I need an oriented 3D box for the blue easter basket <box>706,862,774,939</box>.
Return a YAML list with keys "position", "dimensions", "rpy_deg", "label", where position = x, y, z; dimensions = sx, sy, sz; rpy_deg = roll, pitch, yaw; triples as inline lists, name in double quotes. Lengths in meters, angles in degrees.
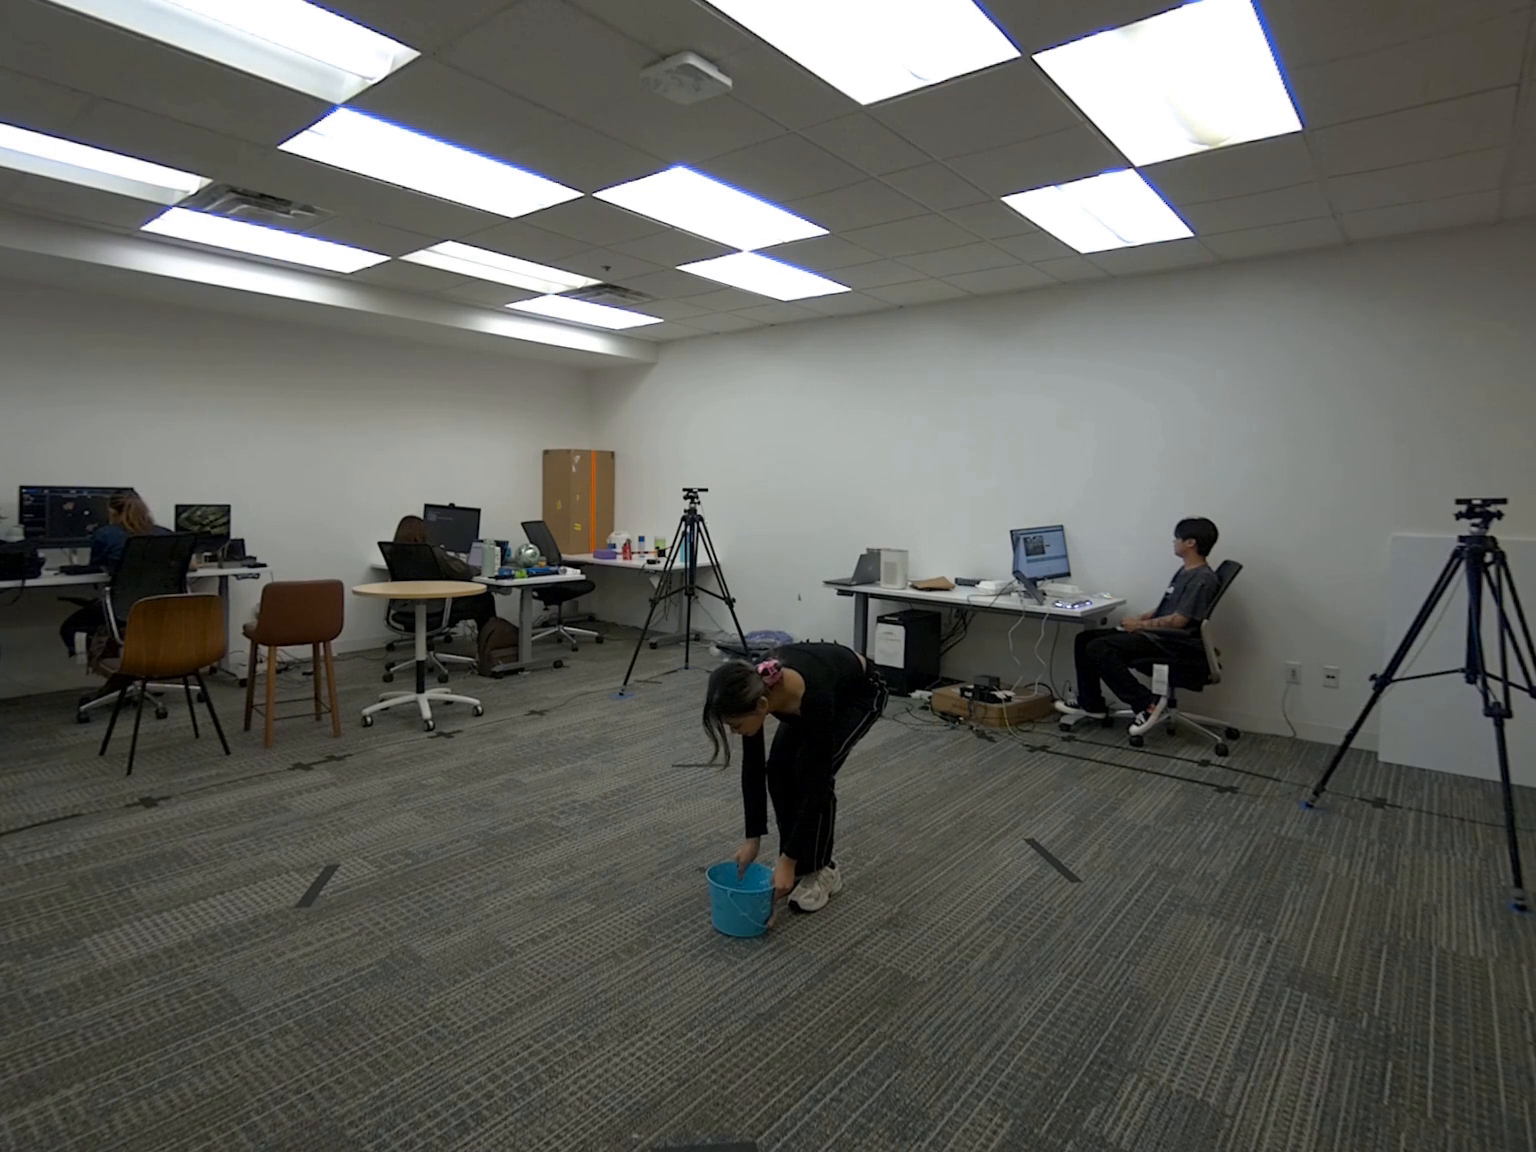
- position: [-0.089, 1.029, 2.725]
  dimensions: [0.243, 0.156, 0.244]
  rpy_deg: [3, 2, -2]
  label: "blue easter basket"
